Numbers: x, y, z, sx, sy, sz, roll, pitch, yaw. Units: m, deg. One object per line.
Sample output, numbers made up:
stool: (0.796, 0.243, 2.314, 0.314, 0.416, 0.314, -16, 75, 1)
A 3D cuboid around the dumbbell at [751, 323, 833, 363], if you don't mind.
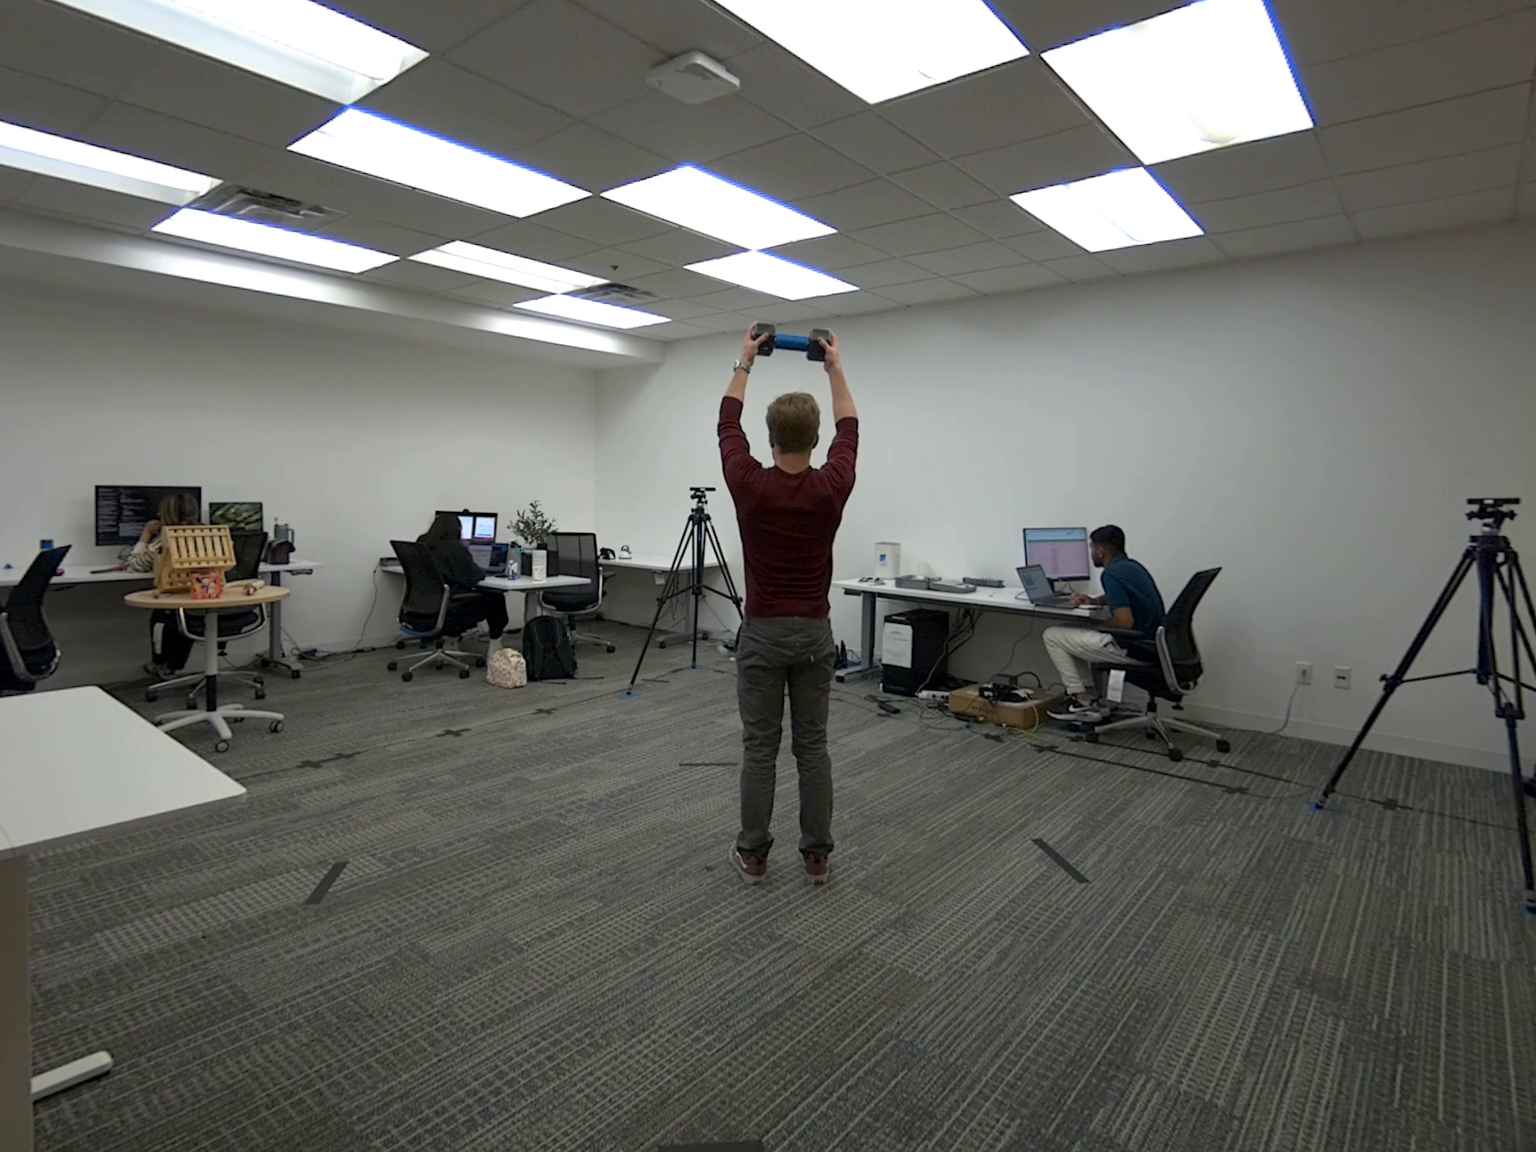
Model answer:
dumbbell: (0.078, -0.878, 3.241, 0.293, 0.121, 0.111, 6, 22, -1)
